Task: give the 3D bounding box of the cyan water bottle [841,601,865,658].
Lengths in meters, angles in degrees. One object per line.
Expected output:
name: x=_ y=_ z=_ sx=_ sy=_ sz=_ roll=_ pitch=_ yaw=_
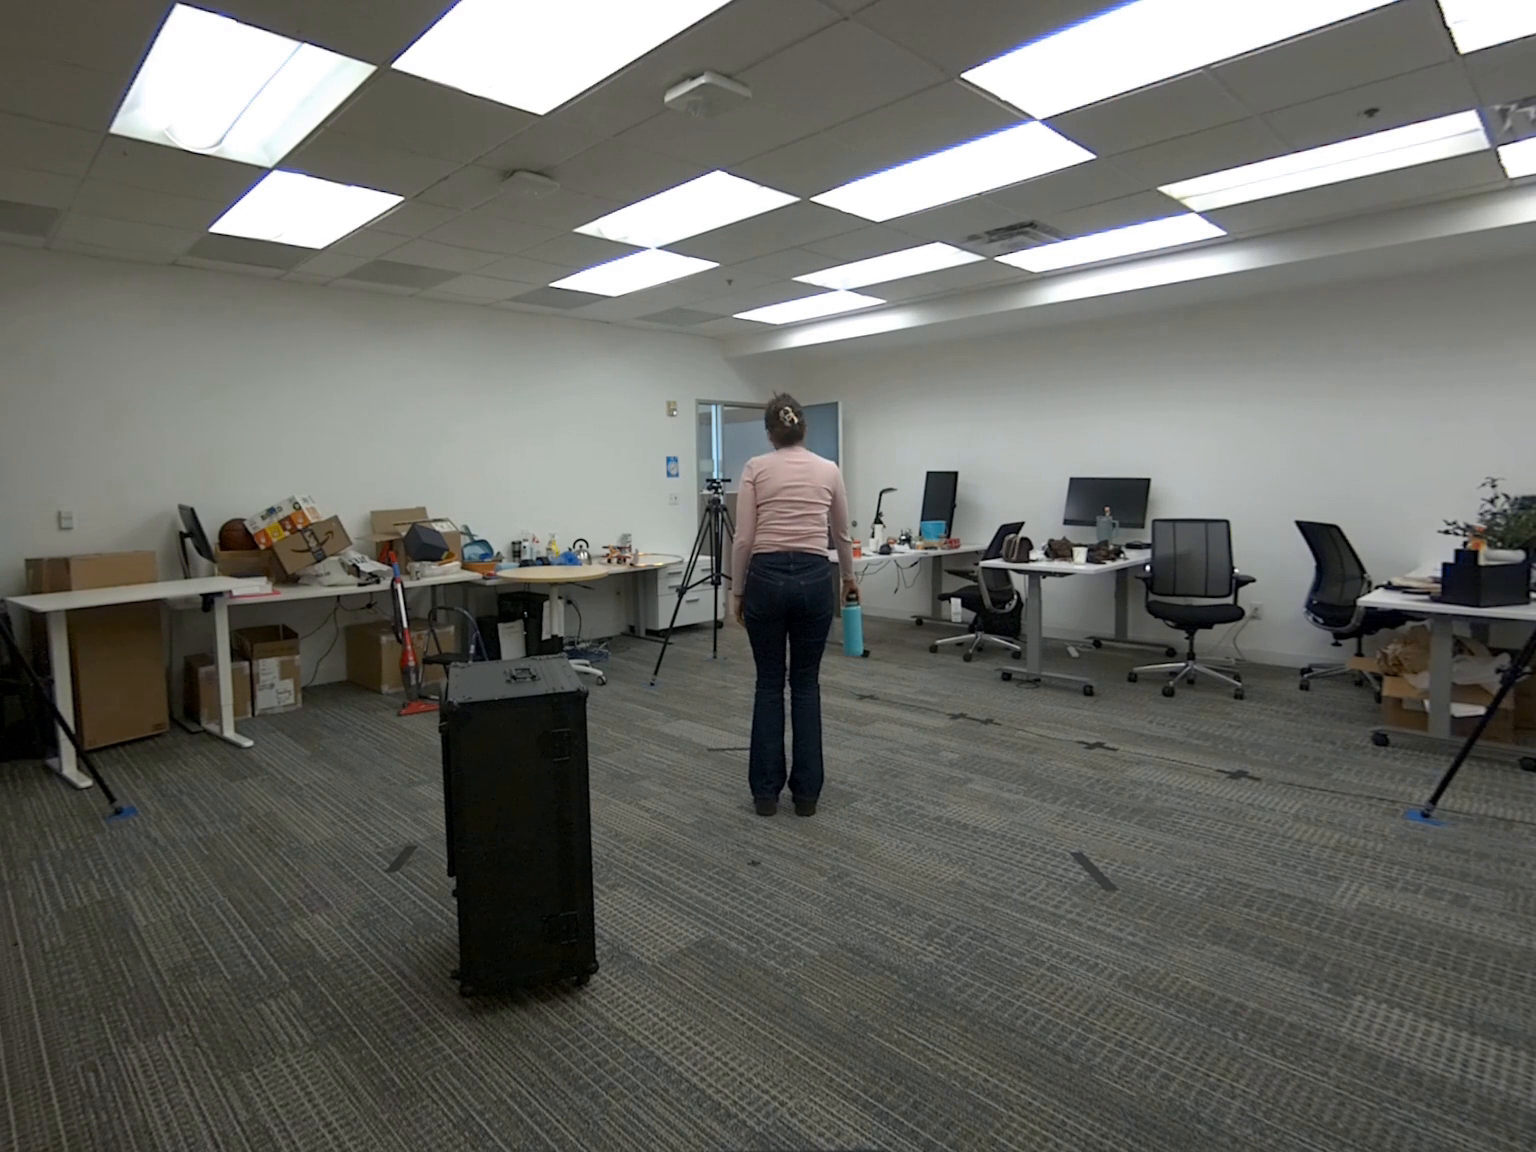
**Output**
cyan water bottle: x=0.388 y=0.220 z=3.974 sx=0.092 sy=0.281 sz=0.093 roll=-4 pitch=7 yaw=-1
